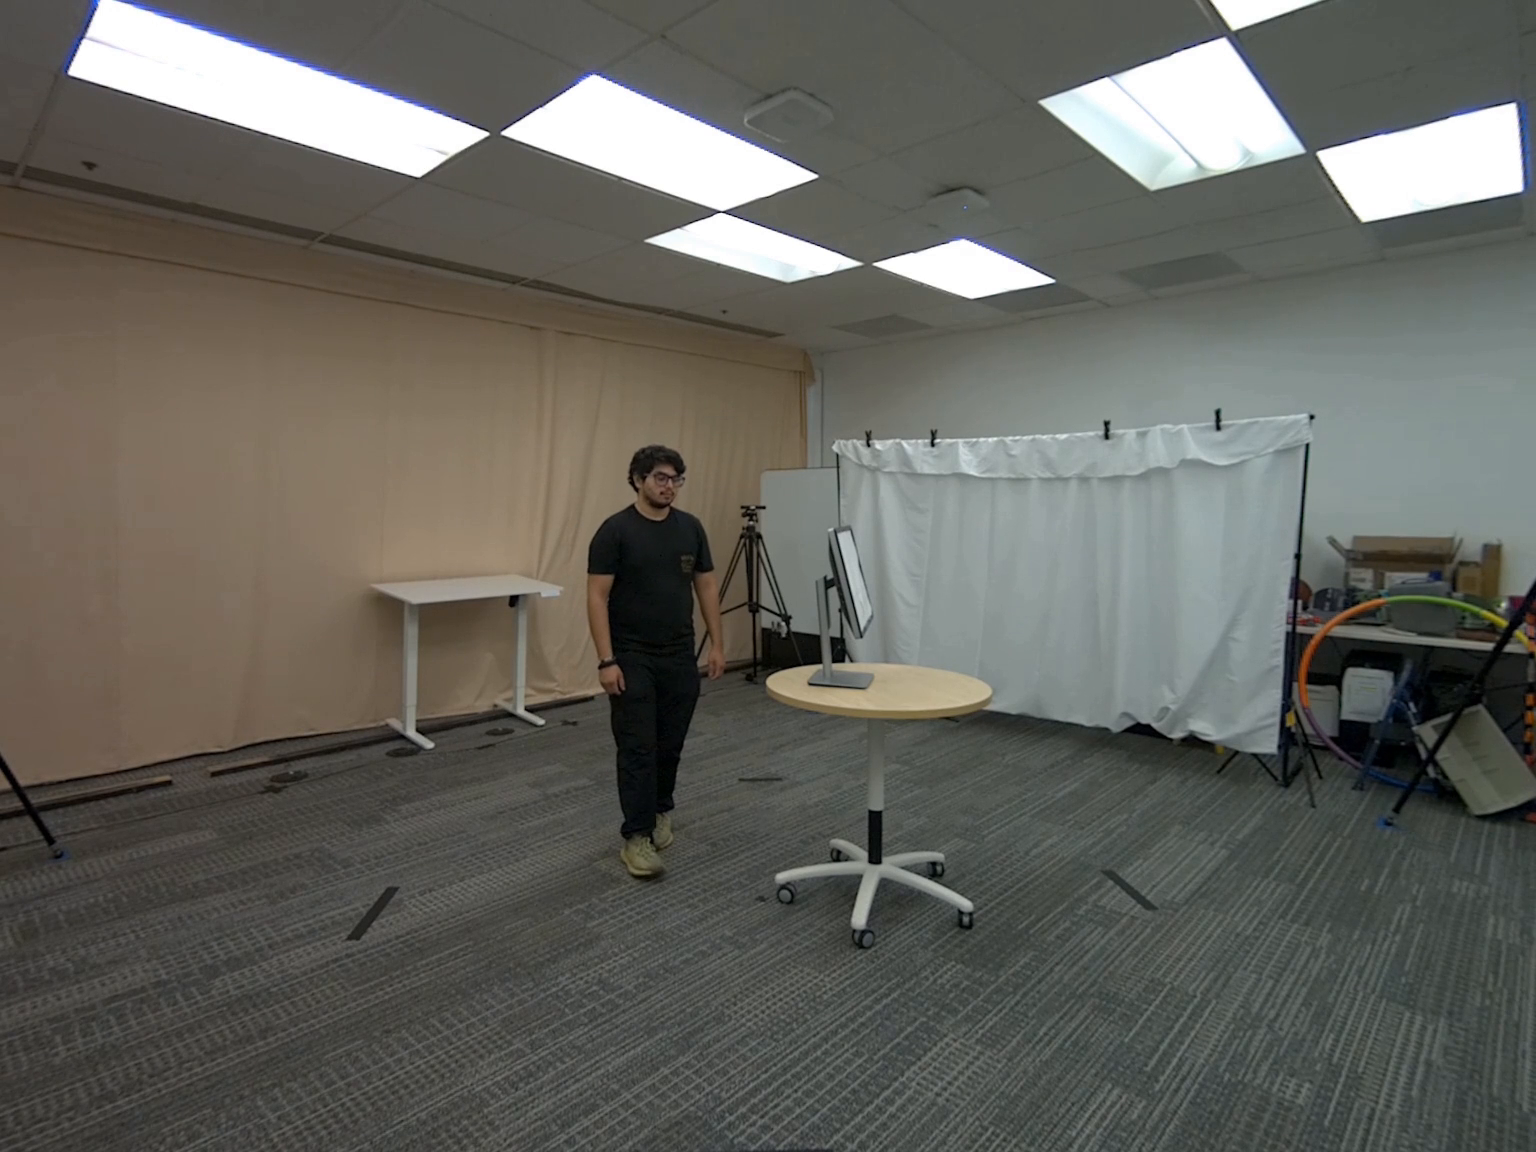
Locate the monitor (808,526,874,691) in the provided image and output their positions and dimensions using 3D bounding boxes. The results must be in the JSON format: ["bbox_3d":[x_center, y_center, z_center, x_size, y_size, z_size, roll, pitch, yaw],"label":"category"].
[{"bbox_3d":[0.242,0.104,2.971,0.213,0.553,0.558,-6,3,12],"label":"monitor"}]
